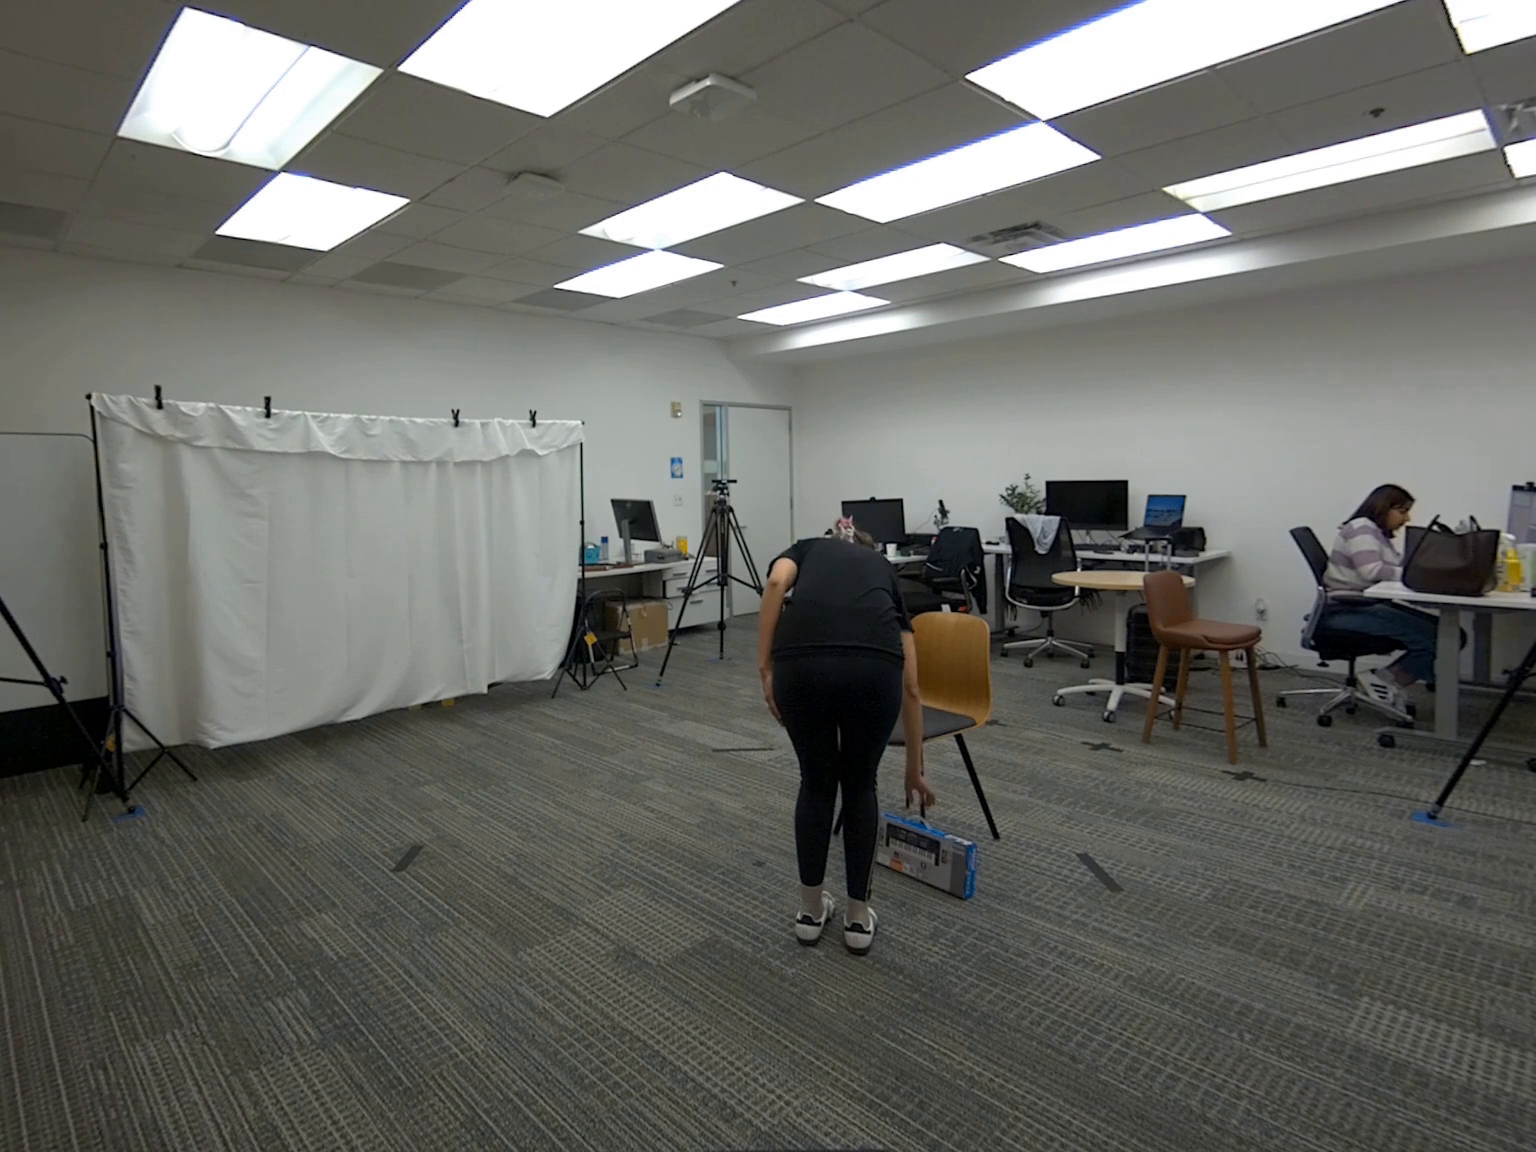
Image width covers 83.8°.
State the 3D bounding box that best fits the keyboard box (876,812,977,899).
[{"bbox_3d":[0.525,0.964,2.989,0.057,0.176,0.450,5,0,-42],"label":"keyboard box"}]
